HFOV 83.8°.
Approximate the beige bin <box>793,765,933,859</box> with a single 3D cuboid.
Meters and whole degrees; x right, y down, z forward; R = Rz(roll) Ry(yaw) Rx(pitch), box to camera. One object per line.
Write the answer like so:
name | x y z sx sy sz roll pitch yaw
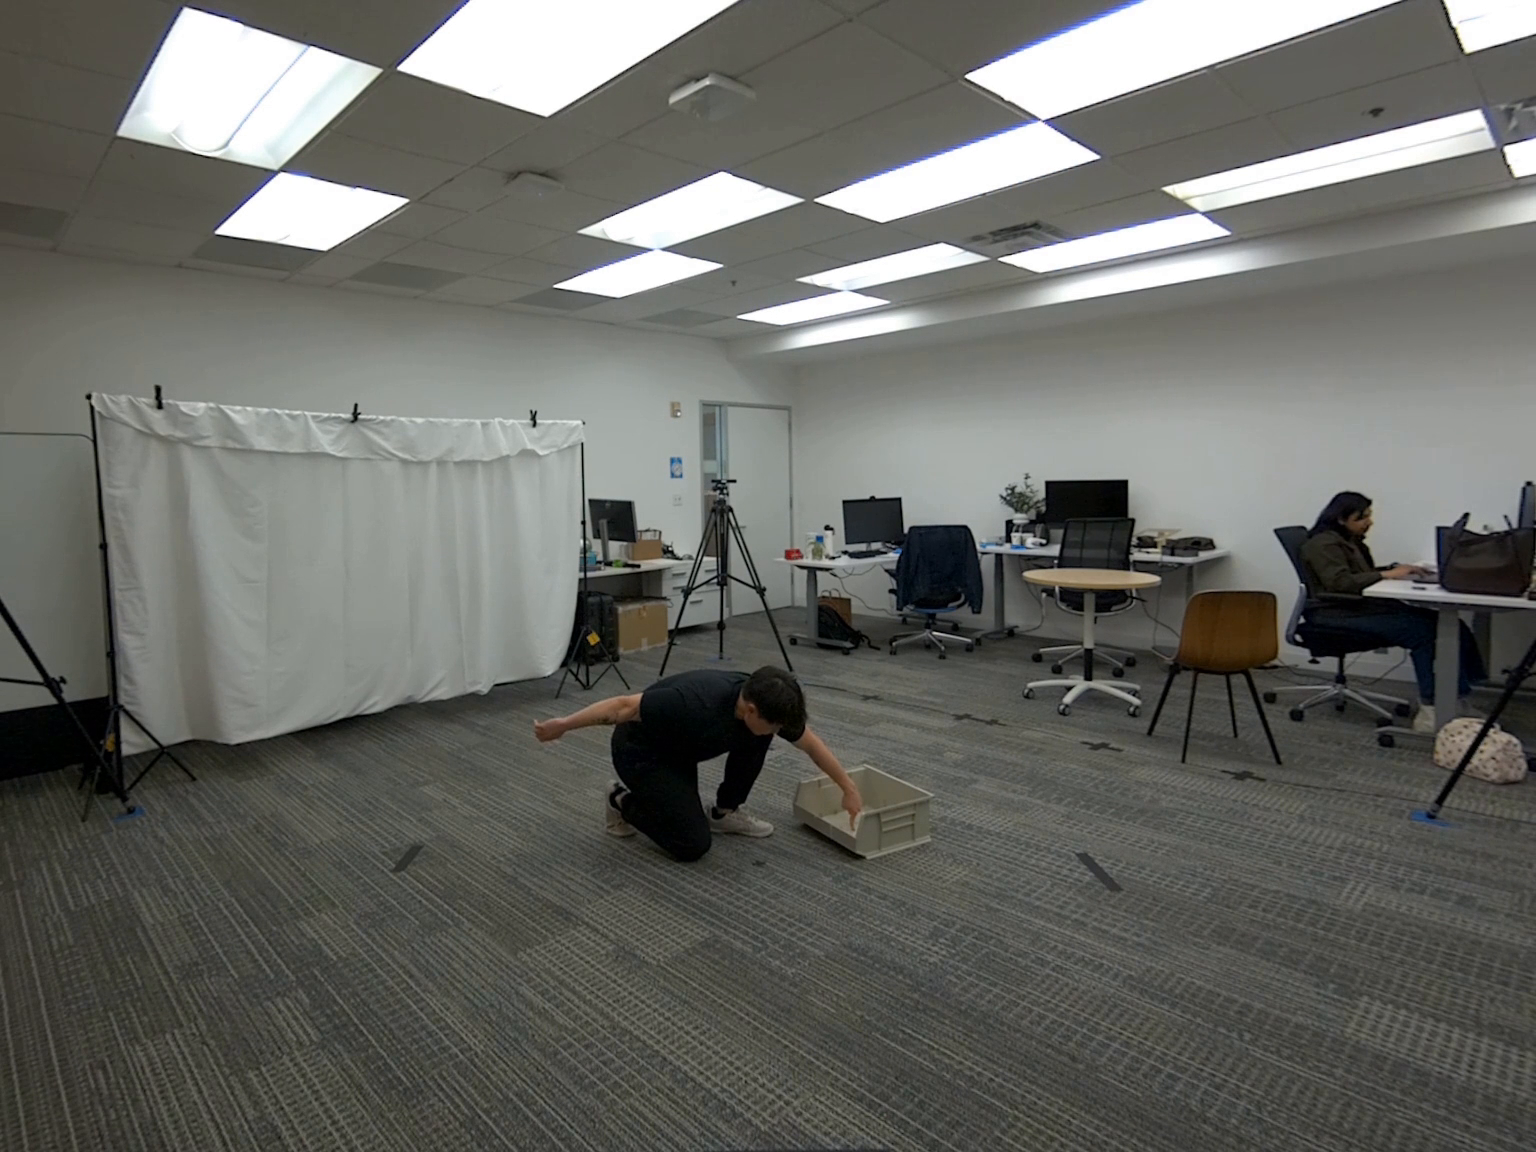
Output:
beige bin | 0.364 0.917 3.356 0.368 0.188 0.434 -4 6 -31
